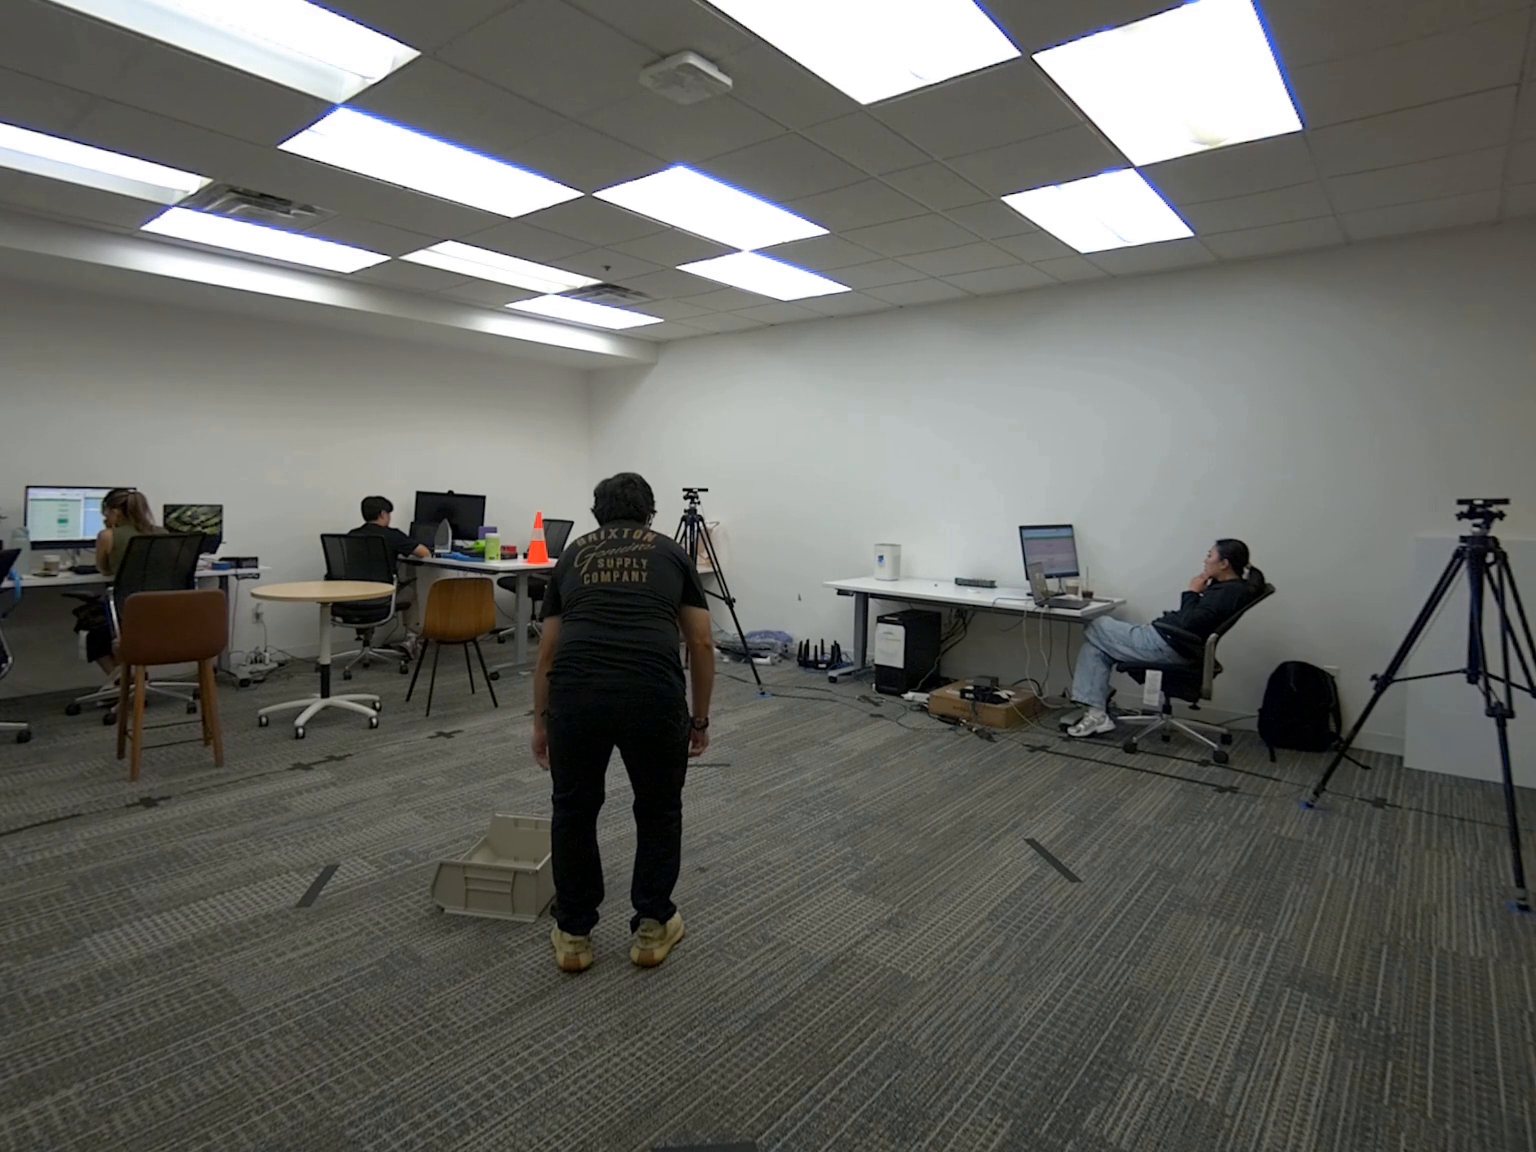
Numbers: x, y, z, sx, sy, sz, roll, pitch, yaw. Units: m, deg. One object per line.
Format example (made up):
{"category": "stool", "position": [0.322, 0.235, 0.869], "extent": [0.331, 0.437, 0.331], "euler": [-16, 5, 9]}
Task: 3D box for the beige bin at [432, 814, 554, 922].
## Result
{"category": "beige bin", "position": [-0.903, 0.989, 2.926], "extent": [0.381, 0.188, 0.419], "euler": [3, 5, 8]}
